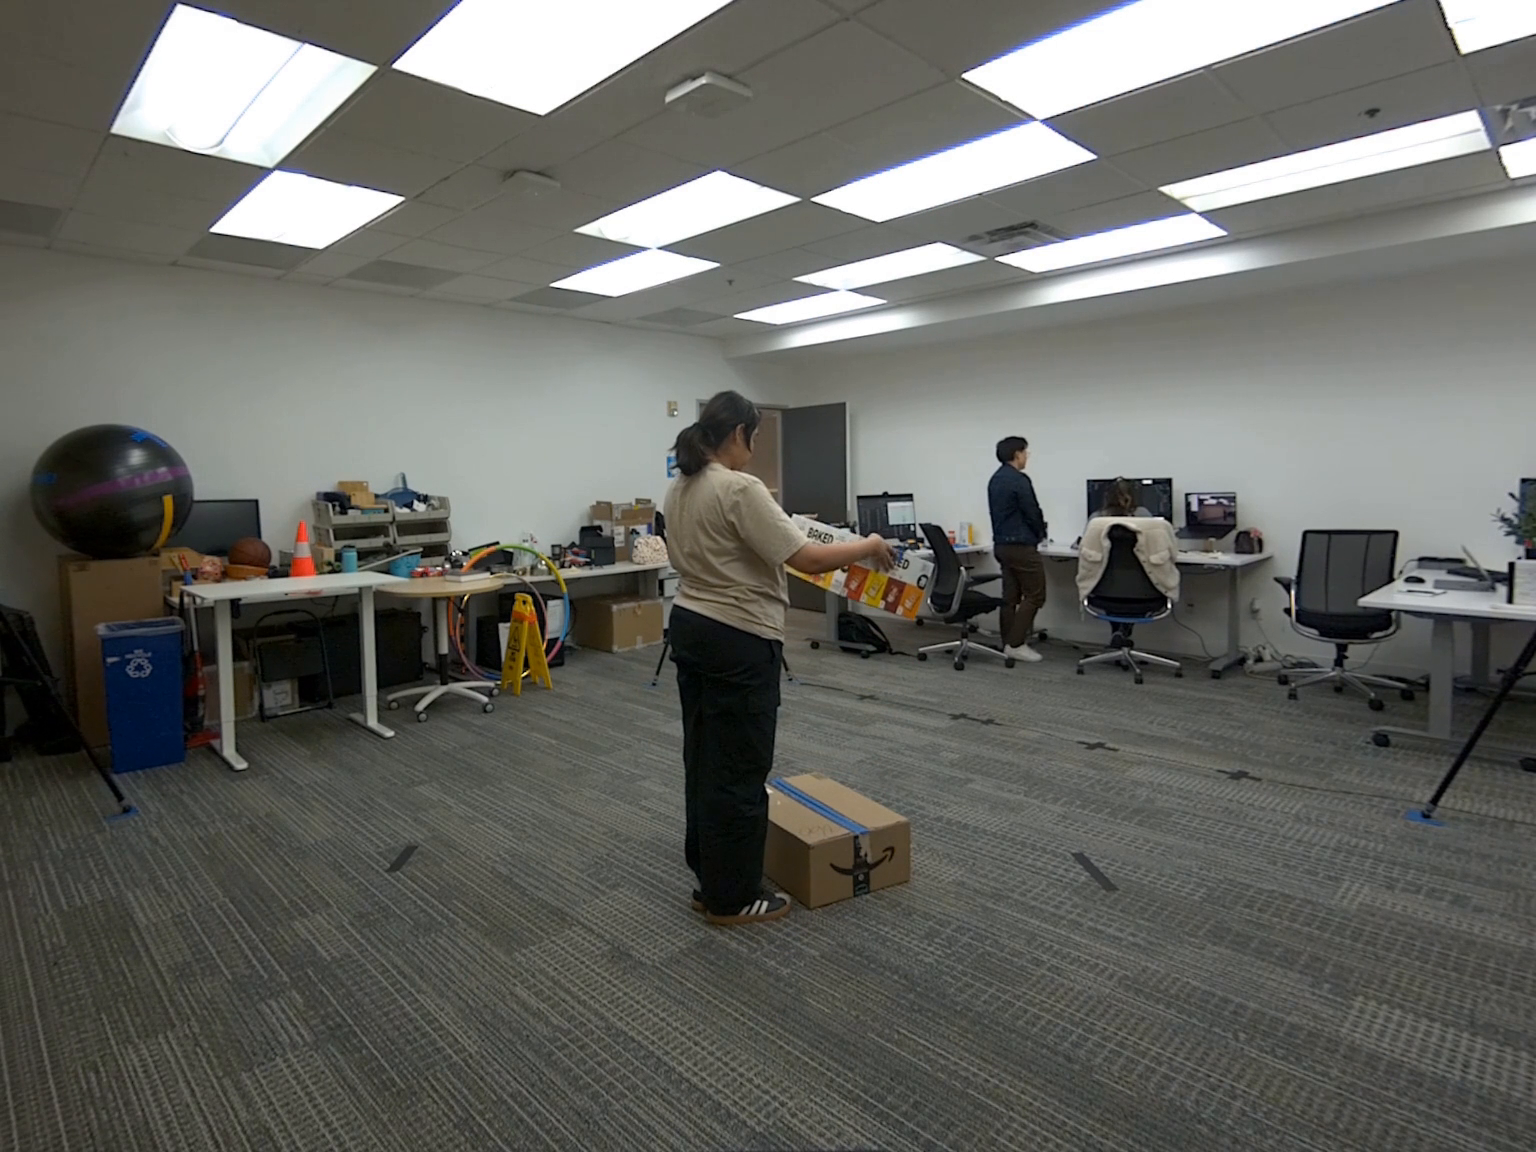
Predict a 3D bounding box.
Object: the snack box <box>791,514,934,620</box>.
[{"bbox_3d":[0.295,-0.038,2.988,0.330,0.205,0.418,18,3,-31],"label":"snack box"}]
